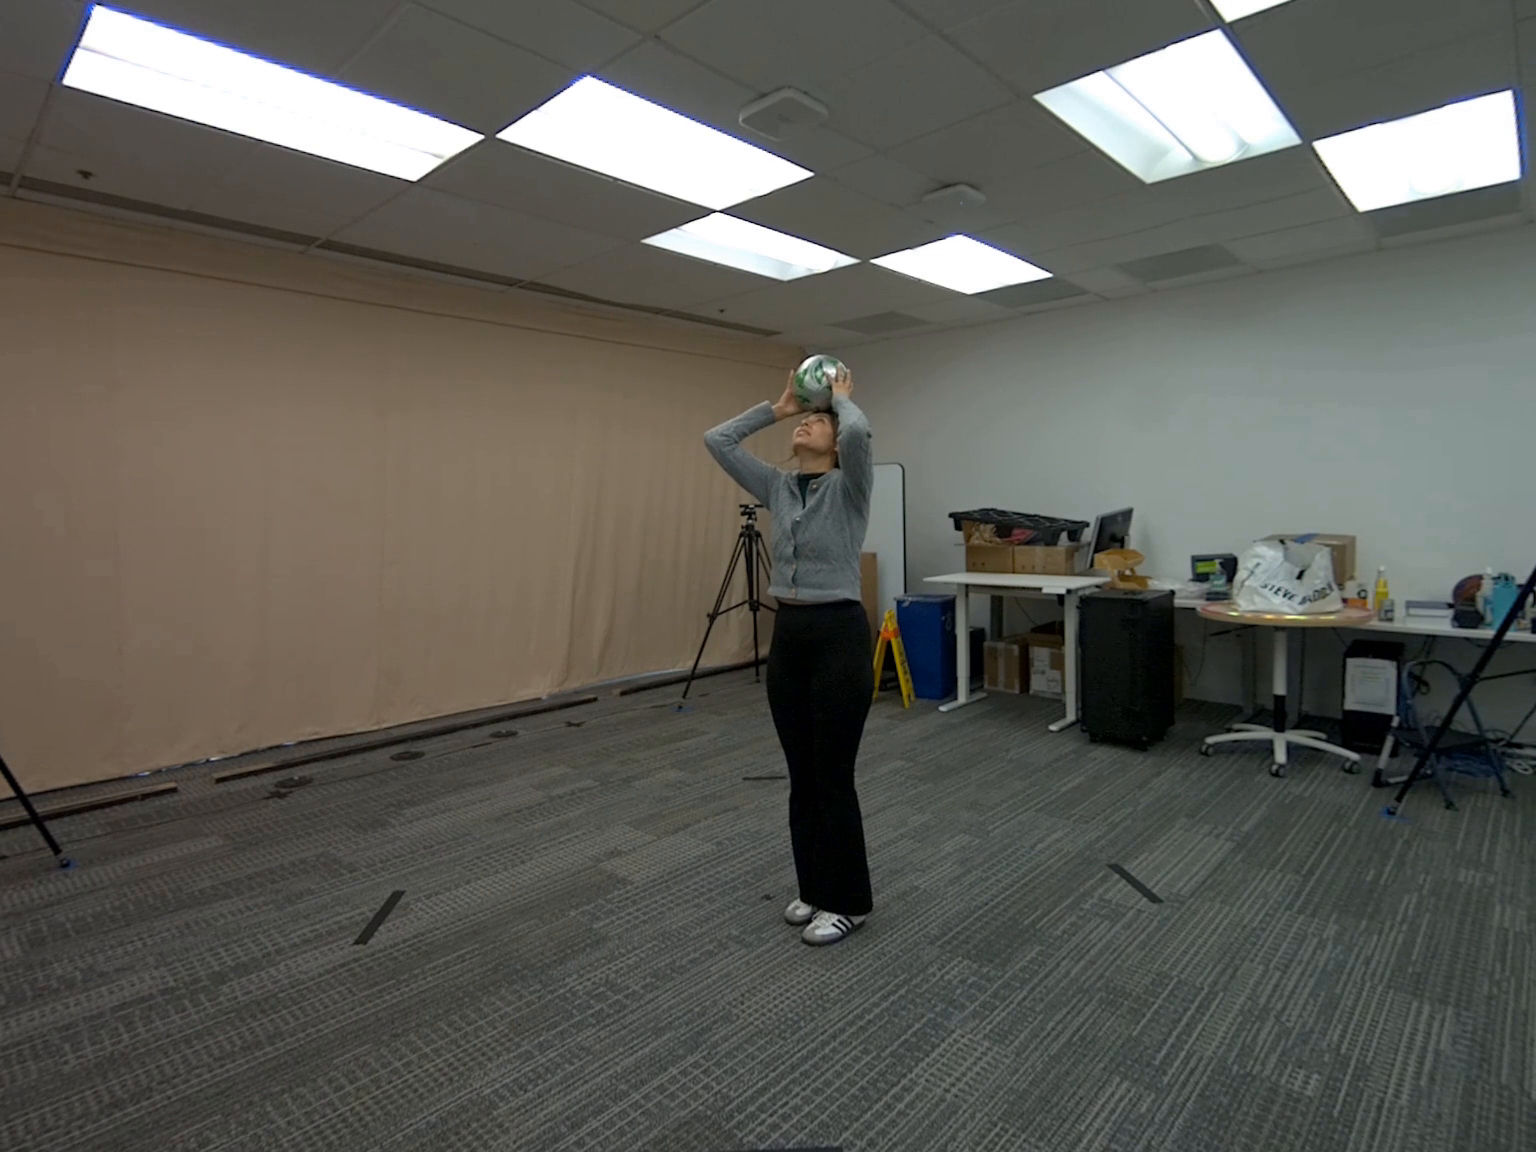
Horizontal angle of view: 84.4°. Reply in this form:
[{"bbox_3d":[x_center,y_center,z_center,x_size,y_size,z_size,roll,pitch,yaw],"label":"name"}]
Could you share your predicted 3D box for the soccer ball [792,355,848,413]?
[{"bbox_3d":[0.183,-0.634,2.785,0.187,0.187,0.188,-1,4,-2],"label":"soccer ball"}]
